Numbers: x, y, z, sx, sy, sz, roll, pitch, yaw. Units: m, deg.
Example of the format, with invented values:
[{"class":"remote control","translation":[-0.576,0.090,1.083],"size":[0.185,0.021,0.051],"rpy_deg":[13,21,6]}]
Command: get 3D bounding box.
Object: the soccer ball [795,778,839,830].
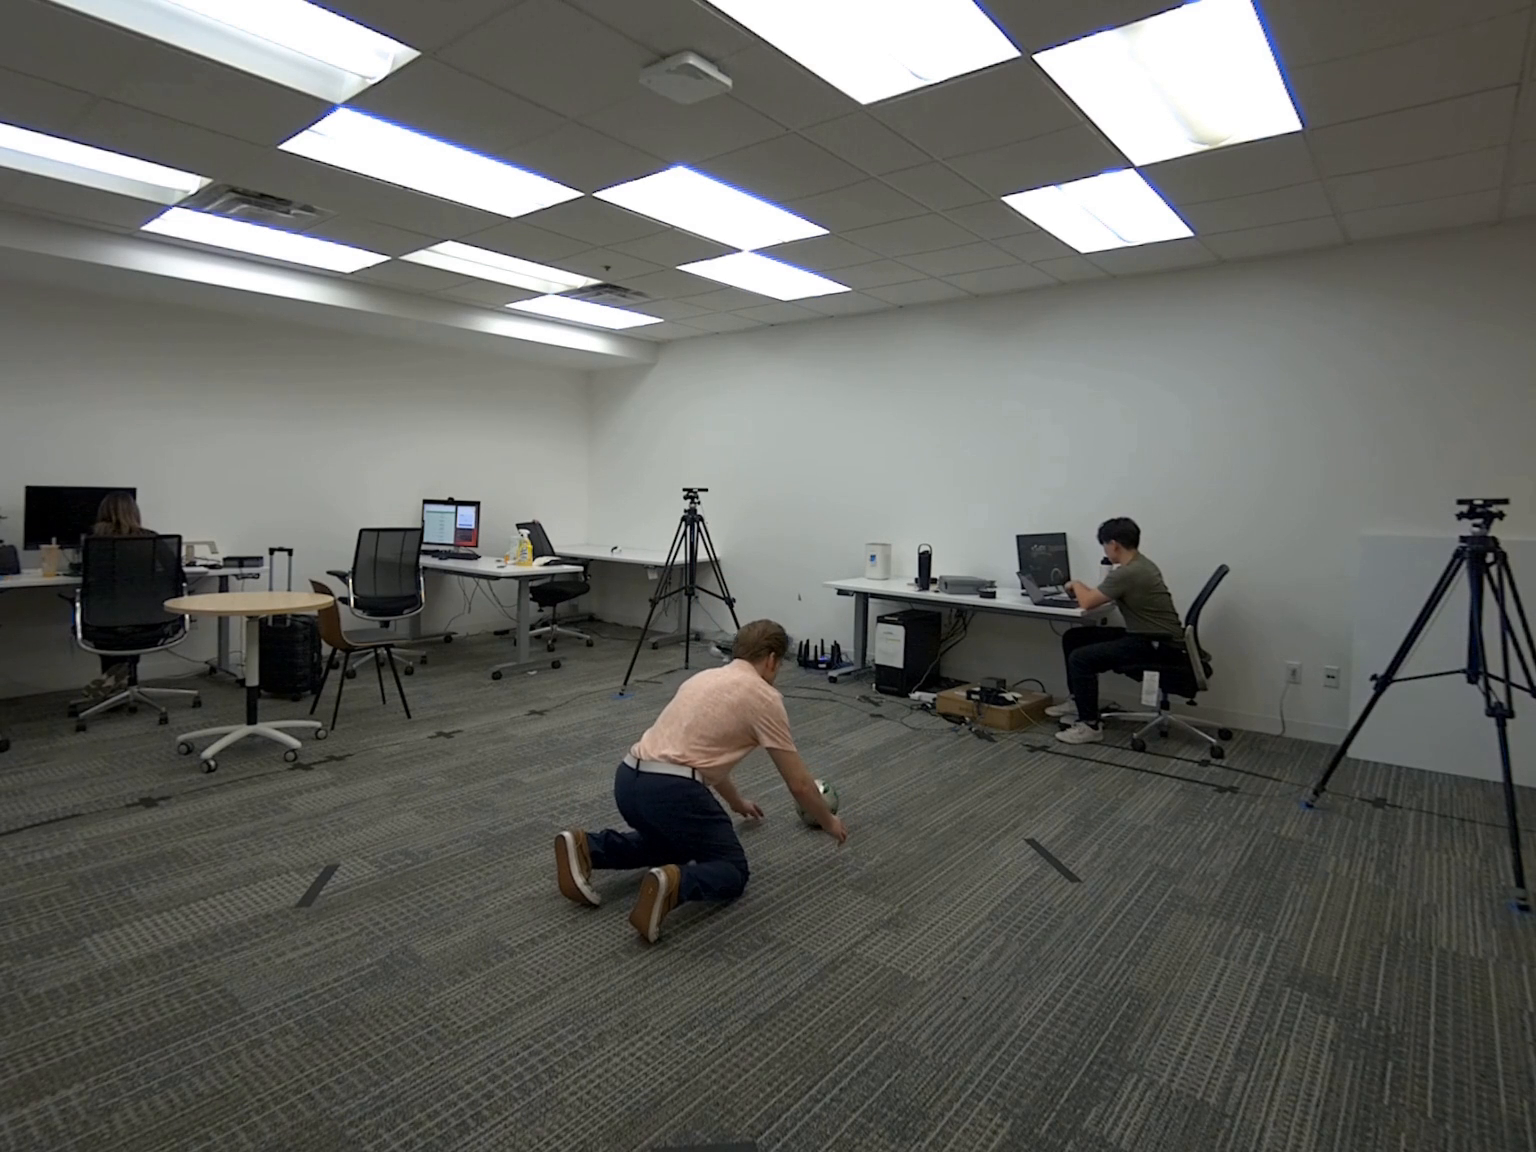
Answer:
[{"class":"soccer ball","translation":[0.193,0.937,3.550],"size":[0.187,0.187,0.188],"rpy_deg":[1,4,-2]}]
